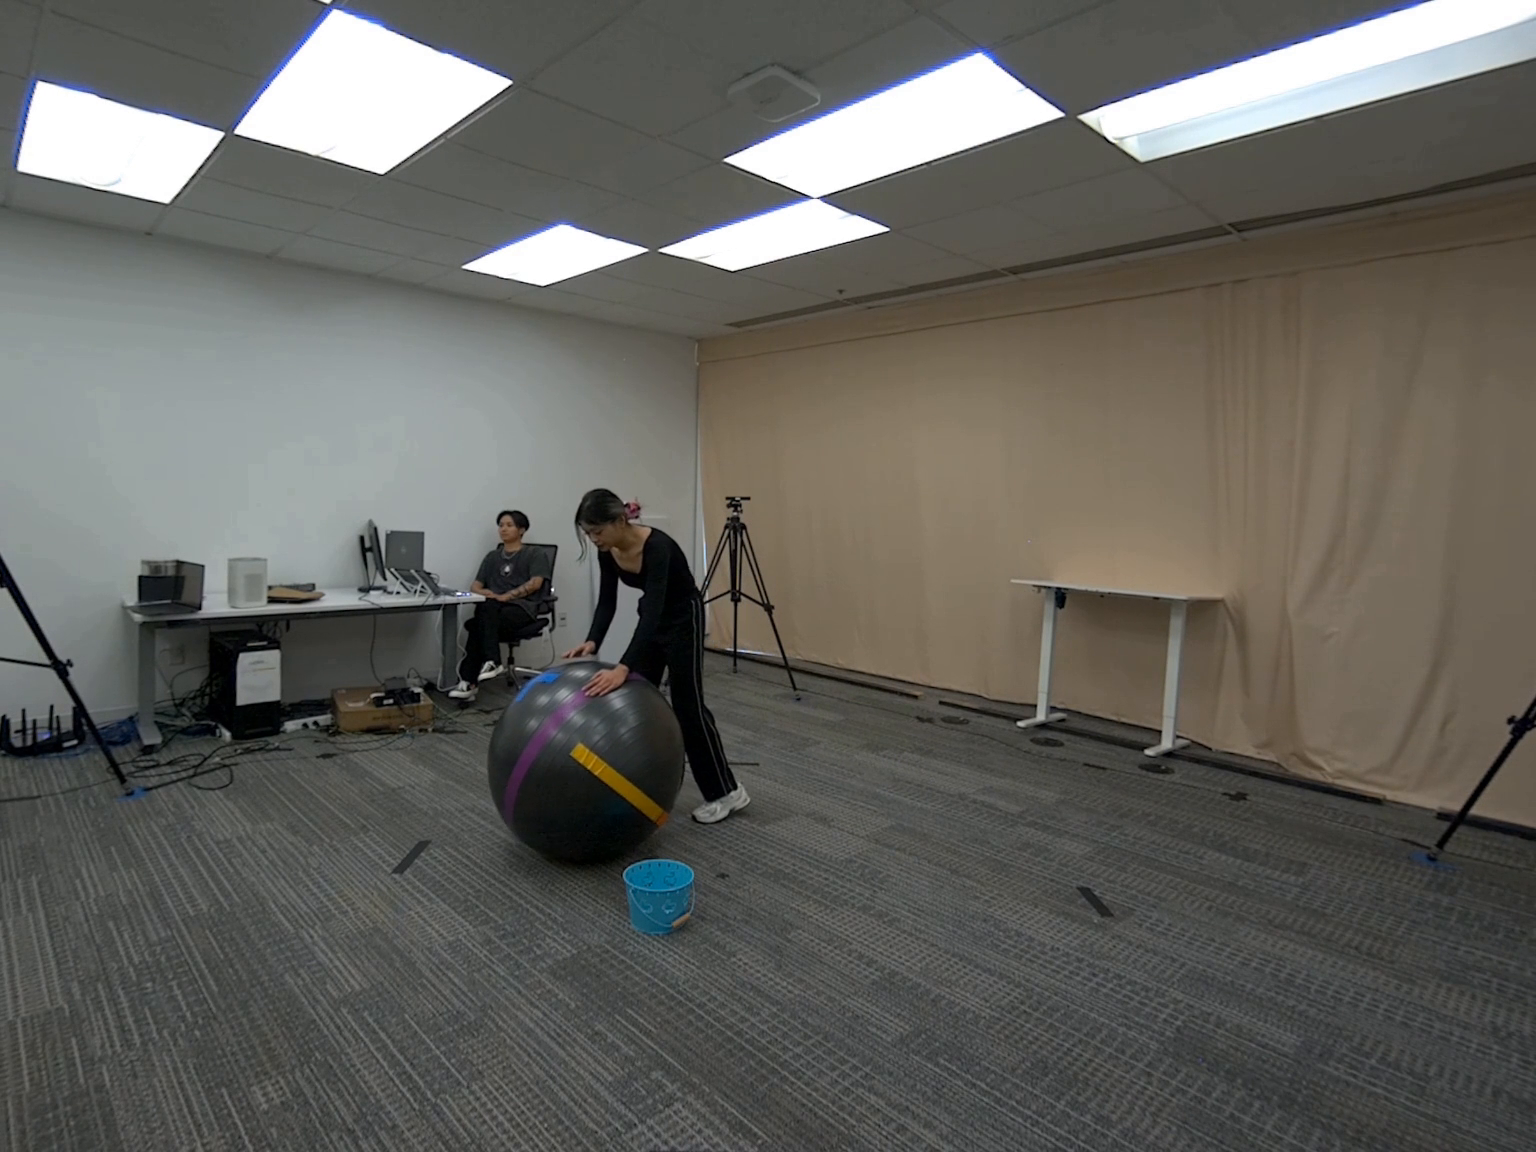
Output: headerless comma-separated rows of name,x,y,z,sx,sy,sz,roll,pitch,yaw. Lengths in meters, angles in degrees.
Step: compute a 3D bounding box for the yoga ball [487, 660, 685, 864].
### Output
yoga ball,-0.712,0.712,3.271,0.757,0.756,0.761,1,4,-1
